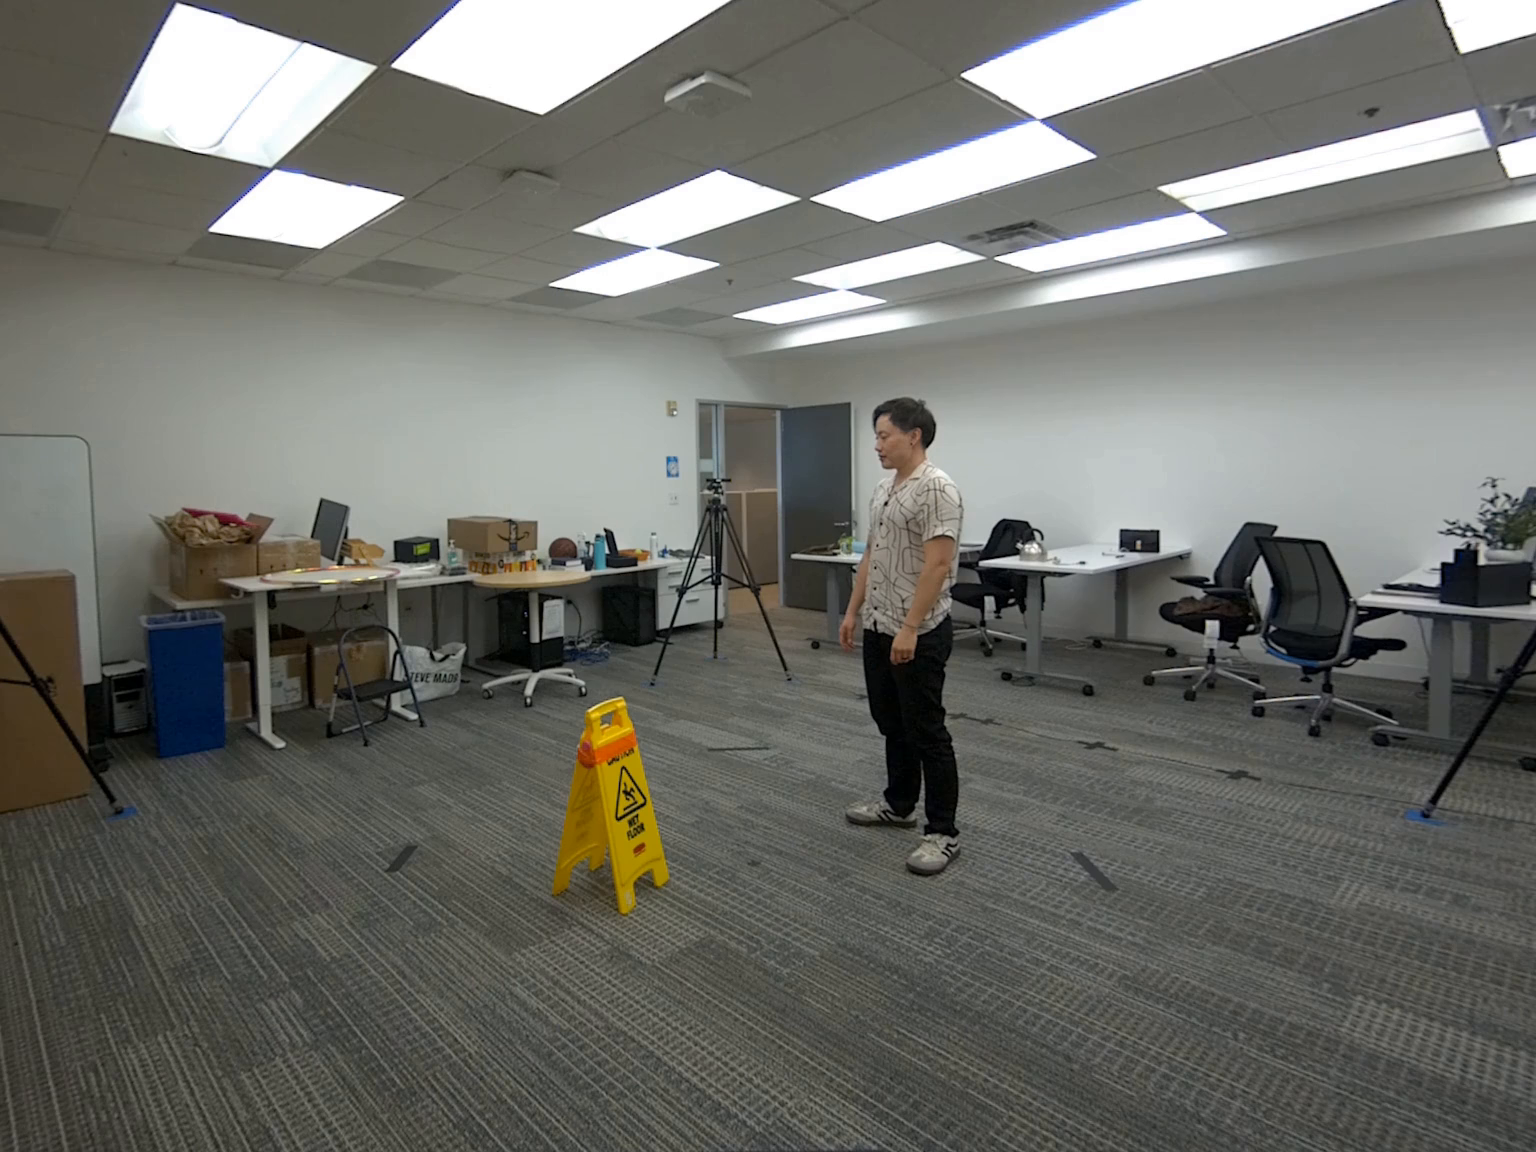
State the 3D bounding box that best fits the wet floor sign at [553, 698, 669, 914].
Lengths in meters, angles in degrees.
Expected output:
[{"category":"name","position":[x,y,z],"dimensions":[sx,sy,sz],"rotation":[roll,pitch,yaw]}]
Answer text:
[{"category":"wet floor sign","position":[-0.540,0.751,2.915],"dimensions":[0.297,0.643,0.276],"rotation":[2,6,28]}]
